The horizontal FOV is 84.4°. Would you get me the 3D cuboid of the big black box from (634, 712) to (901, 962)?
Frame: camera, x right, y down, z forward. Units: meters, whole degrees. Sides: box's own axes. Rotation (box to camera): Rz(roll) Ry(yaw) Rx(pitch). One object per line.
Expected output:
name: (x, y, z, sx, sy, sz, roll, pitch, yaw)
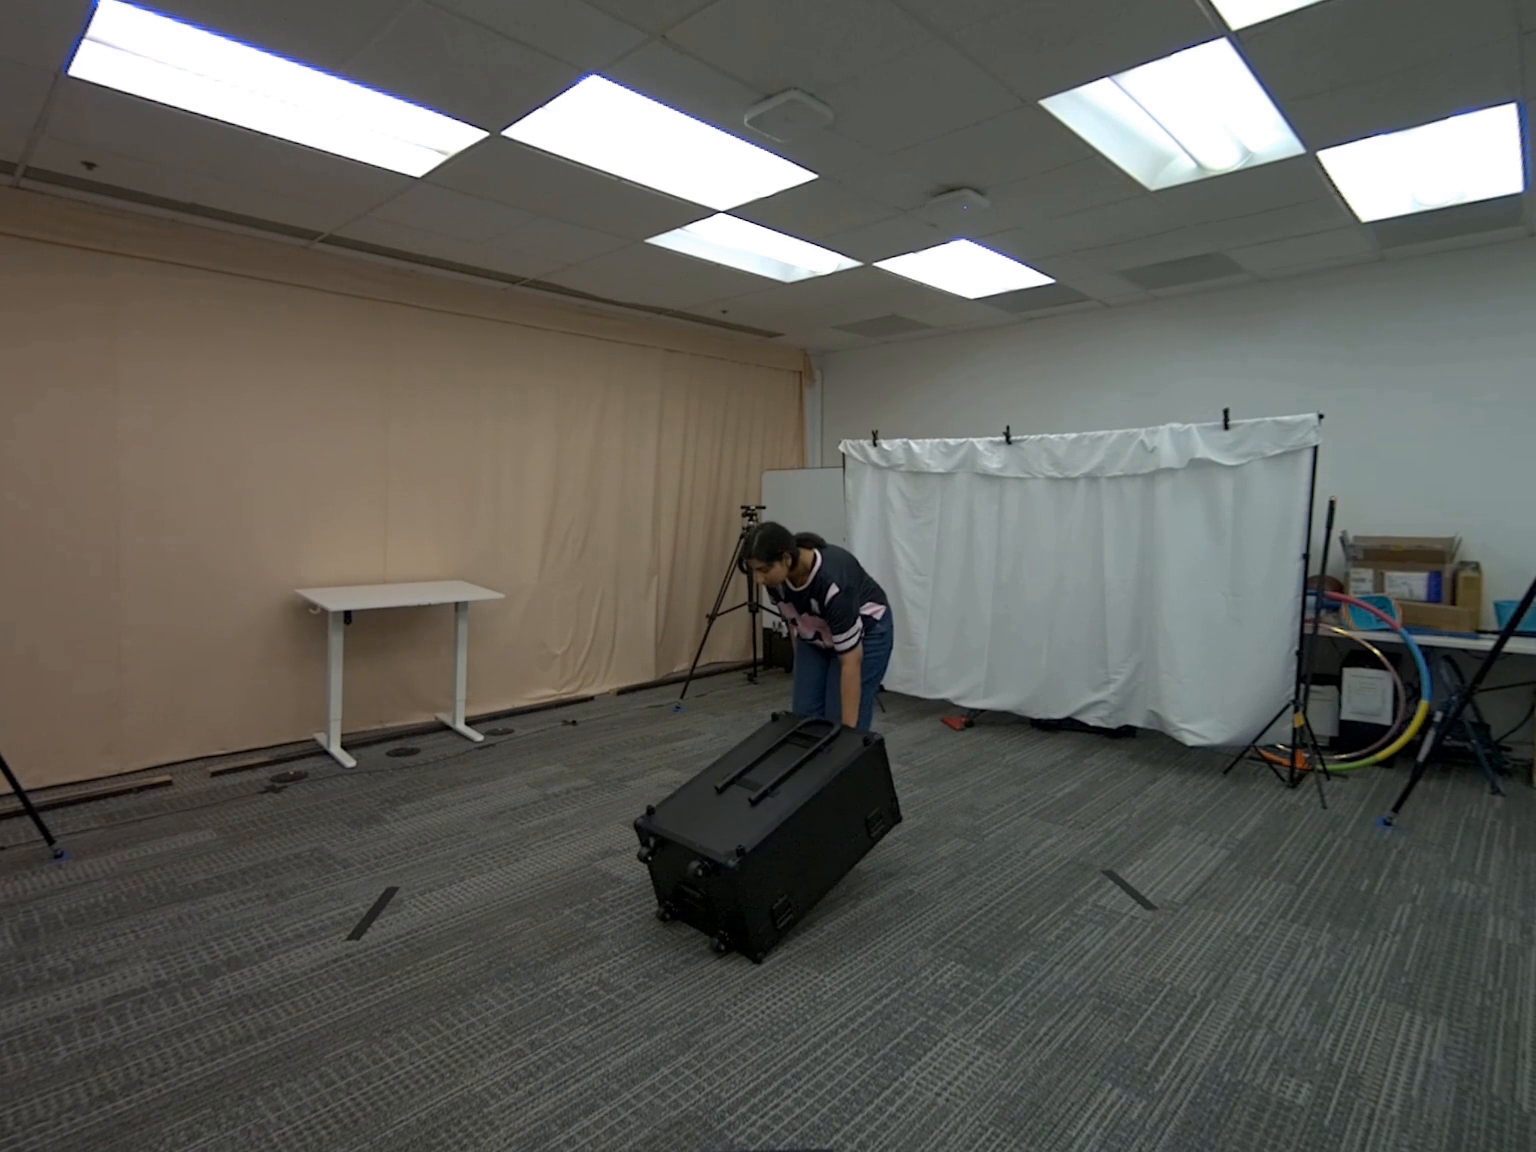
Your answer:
big black box: (-0.003, 0.865, 2.892, 0.541, 0.379, 0.852, 5, 26, 46)
